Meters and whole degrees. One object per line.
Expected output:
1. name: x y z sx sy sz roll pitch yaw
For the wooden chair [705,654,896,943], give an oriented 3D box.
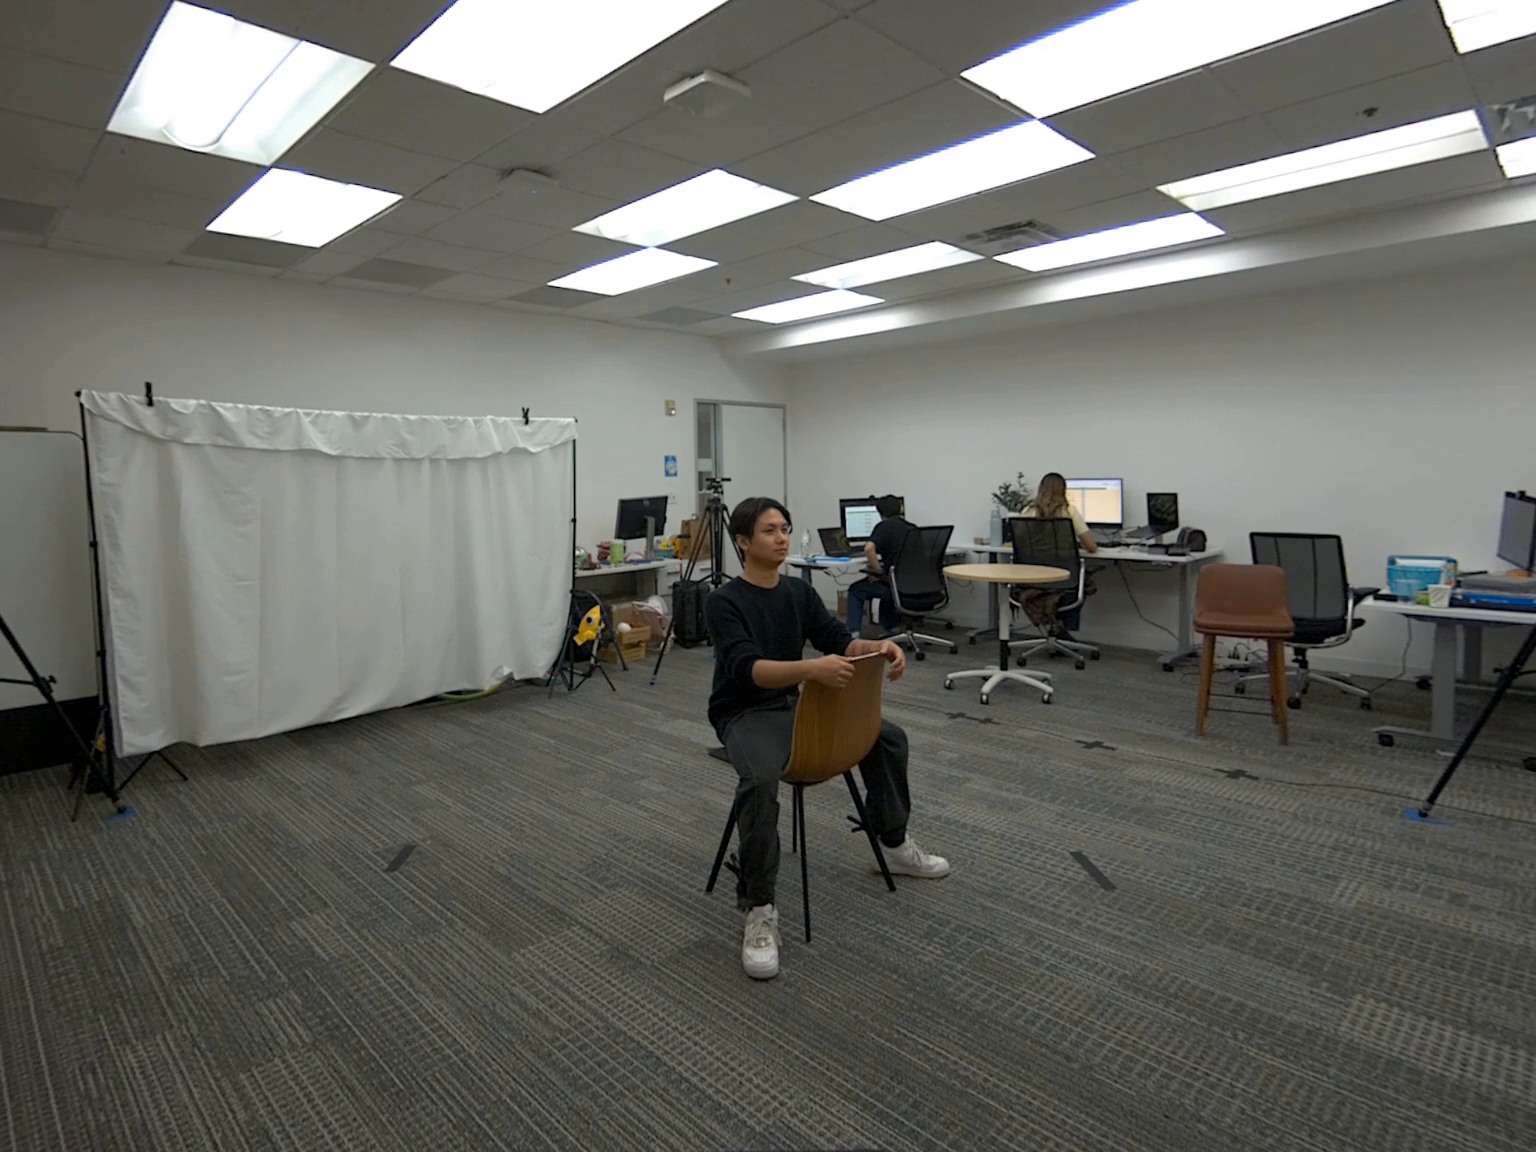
1. wooden chair: 0.091 0.636 2.864 0.465 0.872 0.540 -5 10 -44
